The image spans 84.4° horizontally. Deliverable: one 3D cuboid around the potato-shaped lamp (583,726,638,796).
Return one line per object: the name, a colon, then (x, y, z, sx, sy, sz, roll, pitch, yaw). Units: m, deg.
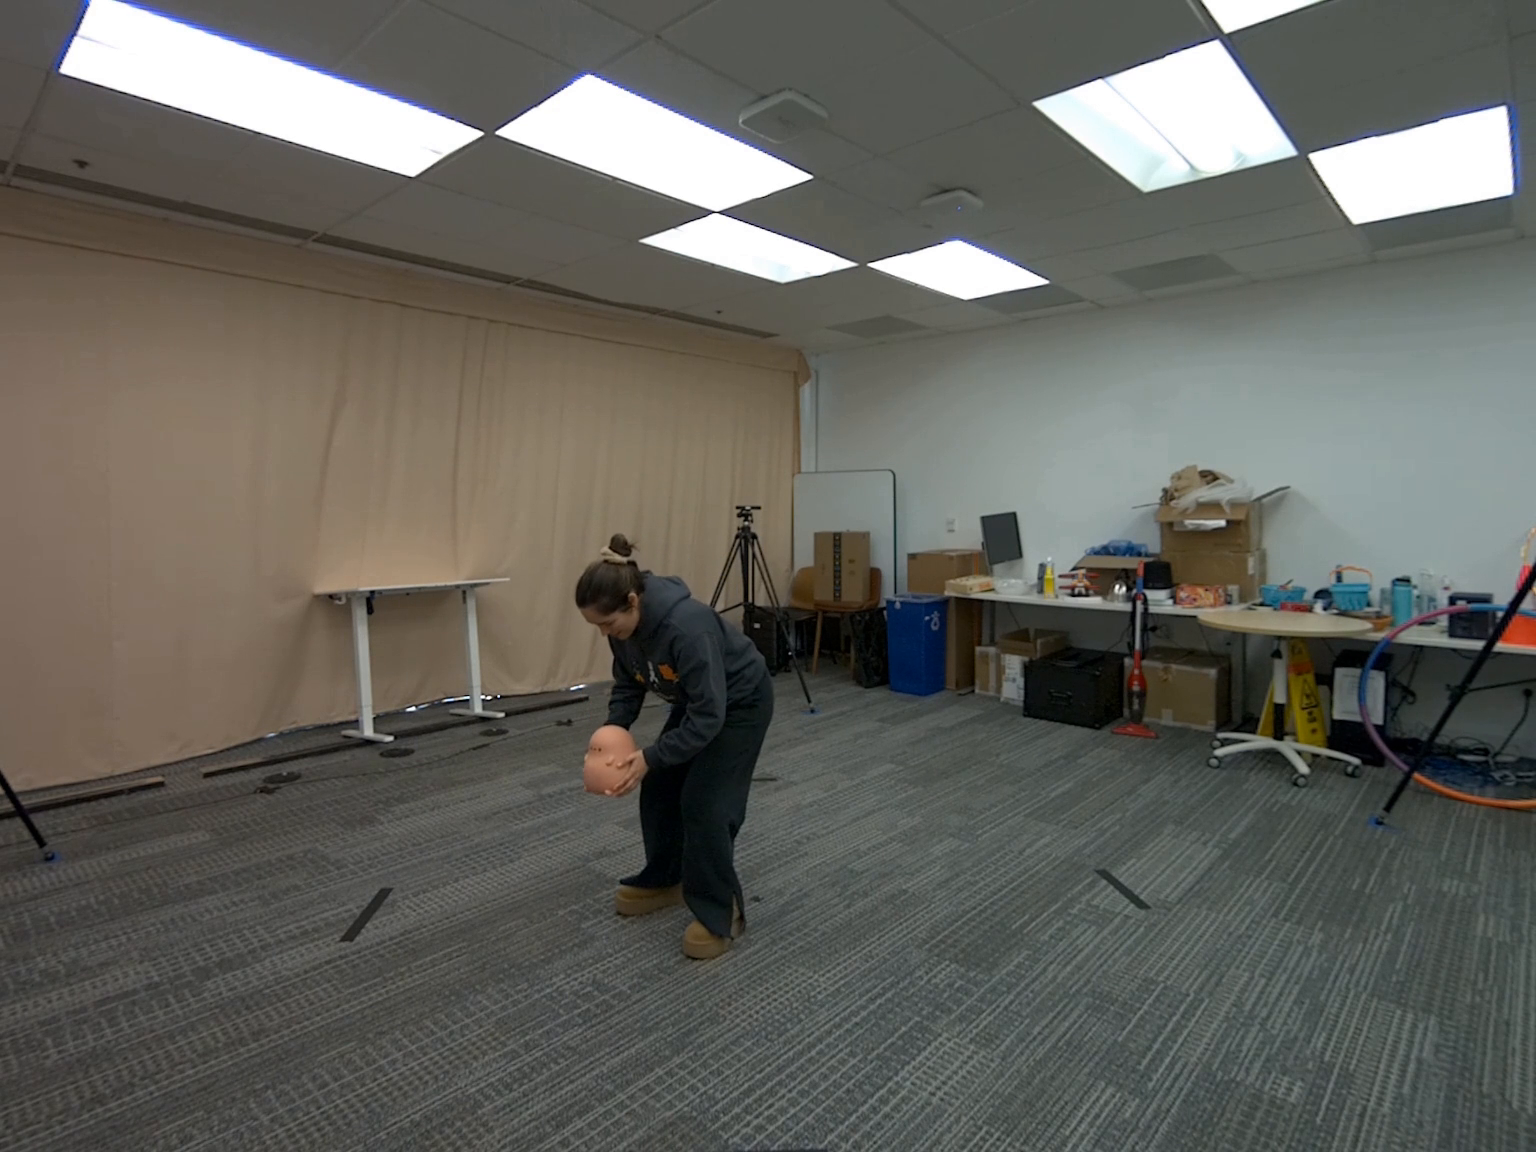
potato-shaped lamp: (-0.467, 0.572, 2.580, 0.169, 0.198, 0.166, -7, -2, 43)
